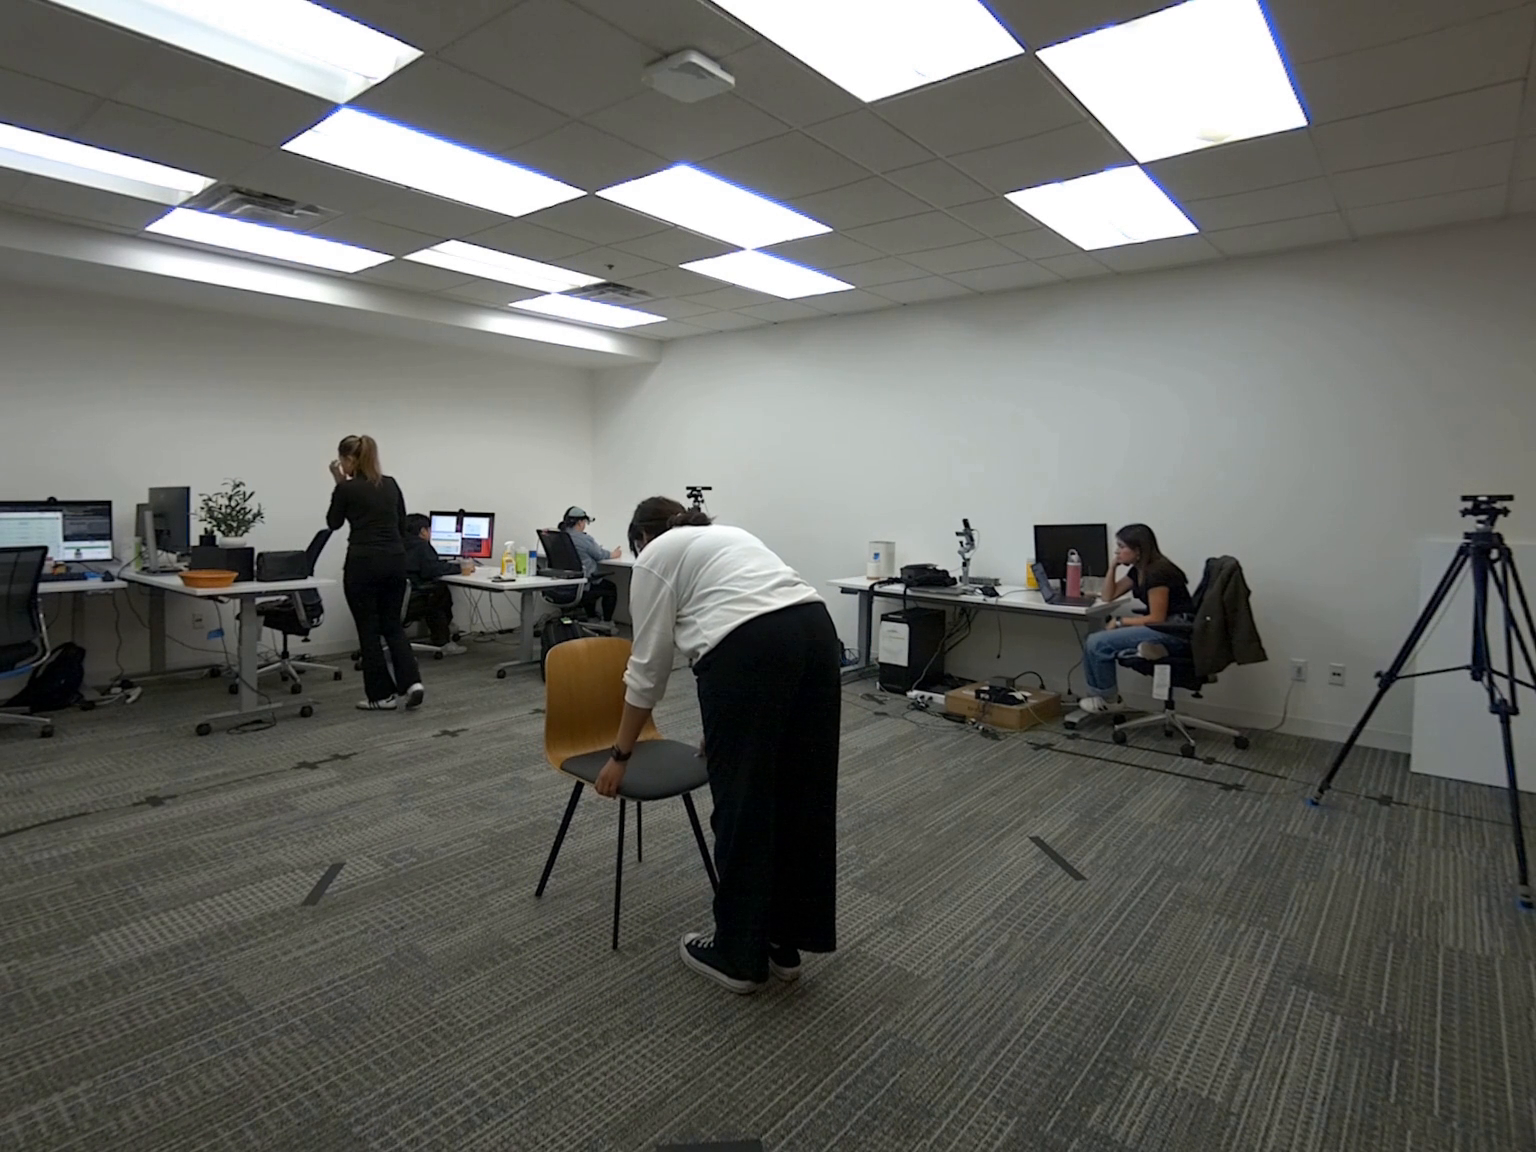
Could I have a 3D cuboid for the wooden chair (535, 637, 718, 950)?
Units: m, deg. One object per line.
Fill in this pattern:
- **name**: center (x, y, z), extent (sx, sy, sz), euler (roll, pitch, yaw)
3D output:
- **wooden chair**: center (-0.457, 0.658, 2.830), extent (0.463, 0.878, 0.539), euler (-2, 0, -45)
